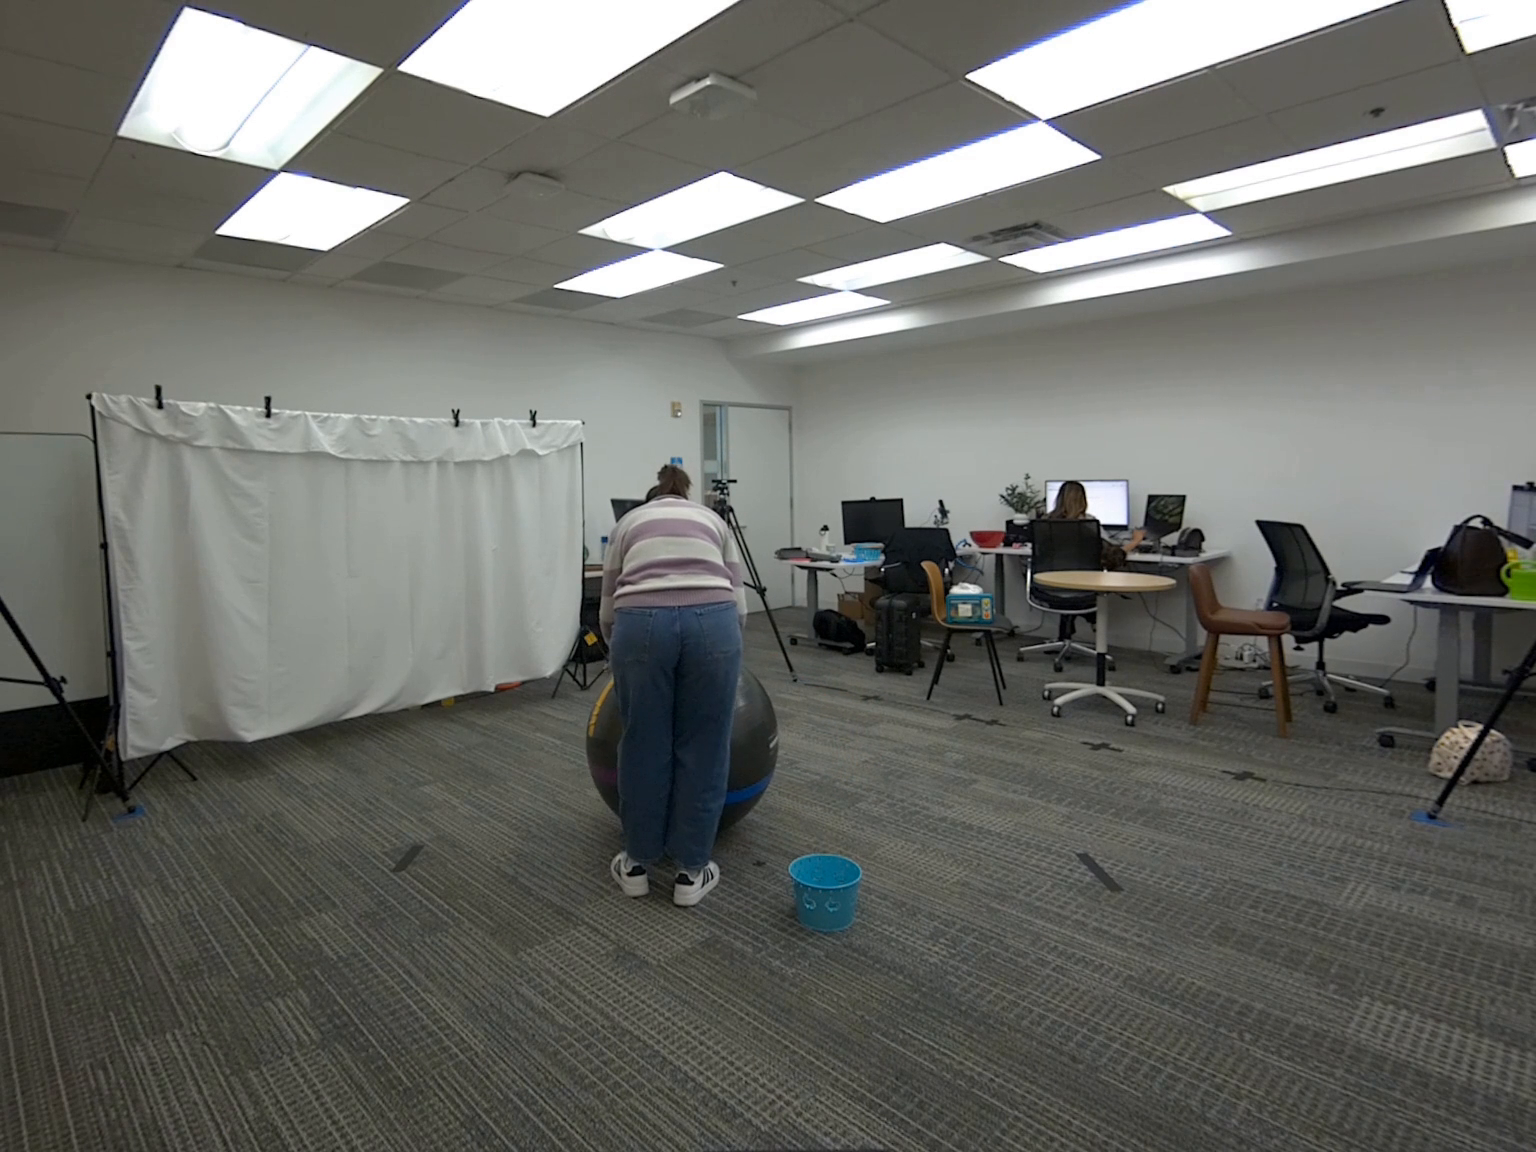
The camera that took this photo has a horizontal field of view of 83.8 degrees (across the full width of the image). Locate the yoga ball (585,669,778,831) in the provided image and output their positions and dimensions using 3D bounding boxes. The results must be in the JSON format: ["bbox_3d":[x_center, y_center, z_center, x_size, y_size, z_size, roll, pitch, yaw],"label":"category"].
[{"bbox_3d":[-0.340,0.652,3.387,0.757,0.755,0.762,-1,5,-2],"label":"yoga ball"}]
